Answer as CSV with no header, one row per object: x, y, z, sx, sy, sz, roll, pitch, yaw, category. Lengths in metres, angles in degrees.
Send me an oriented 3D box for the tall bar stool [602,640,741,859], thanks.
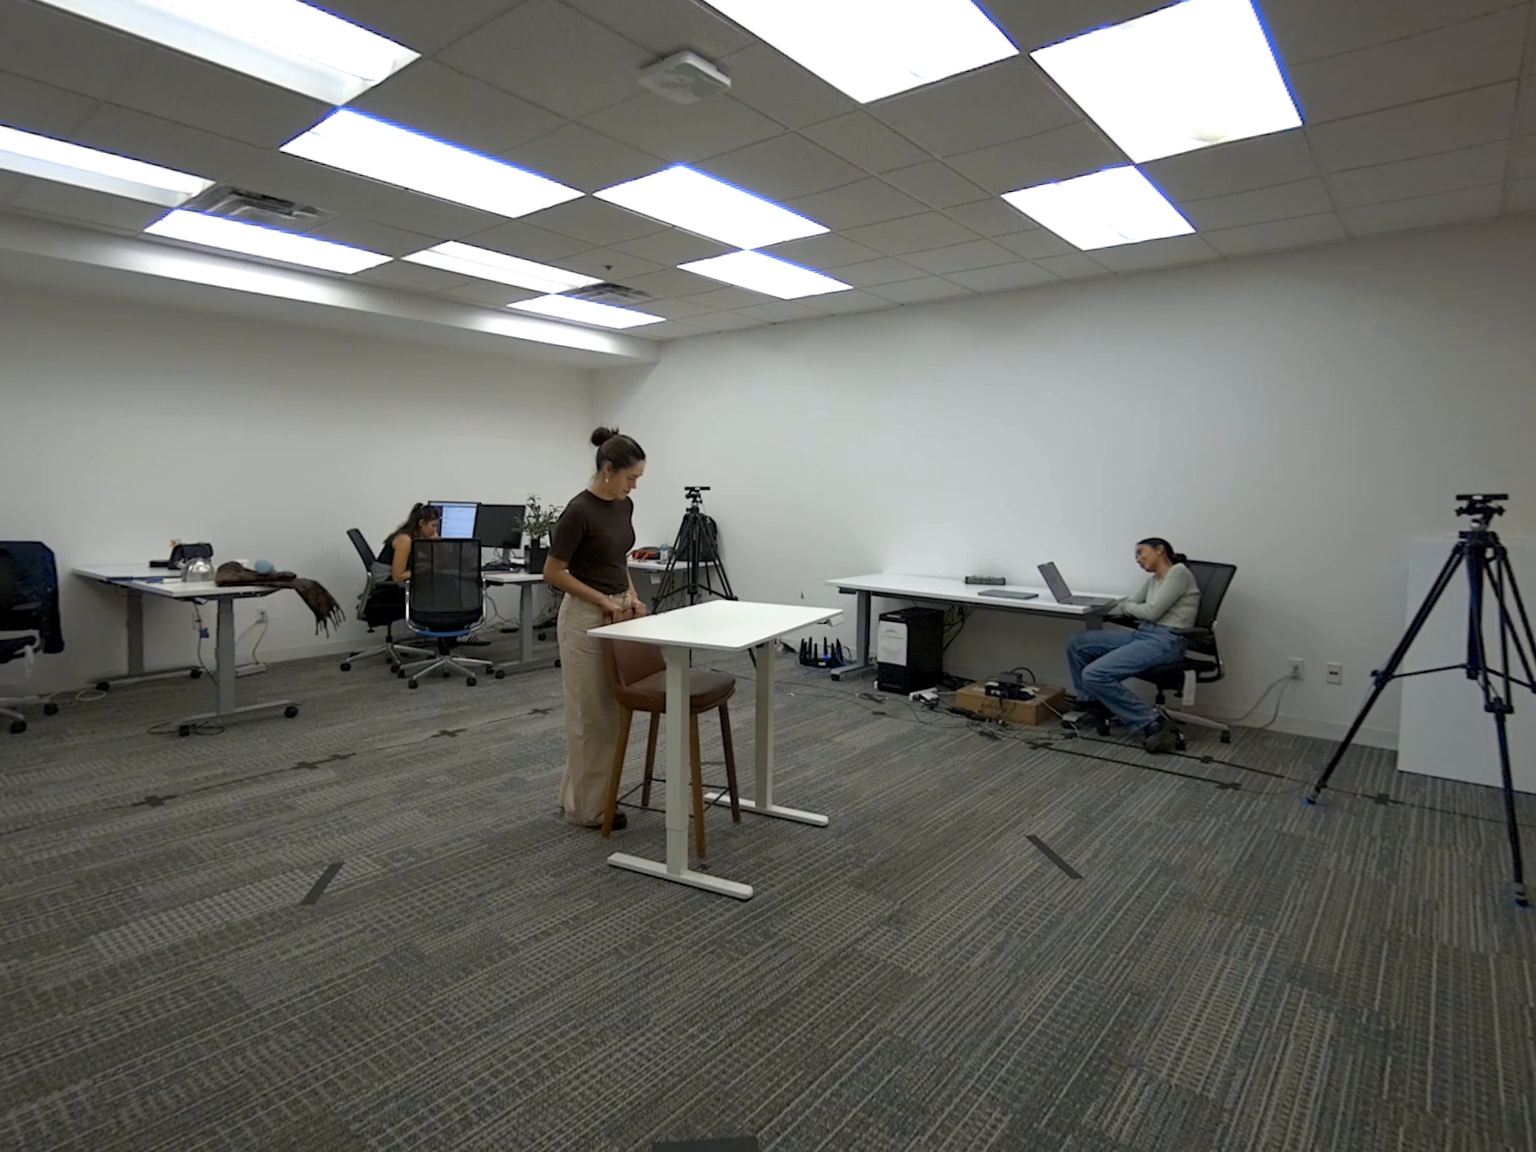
-0.403,0.596,3.431,0.478,0.888,0.447,-1,2,21,tall bar stool
